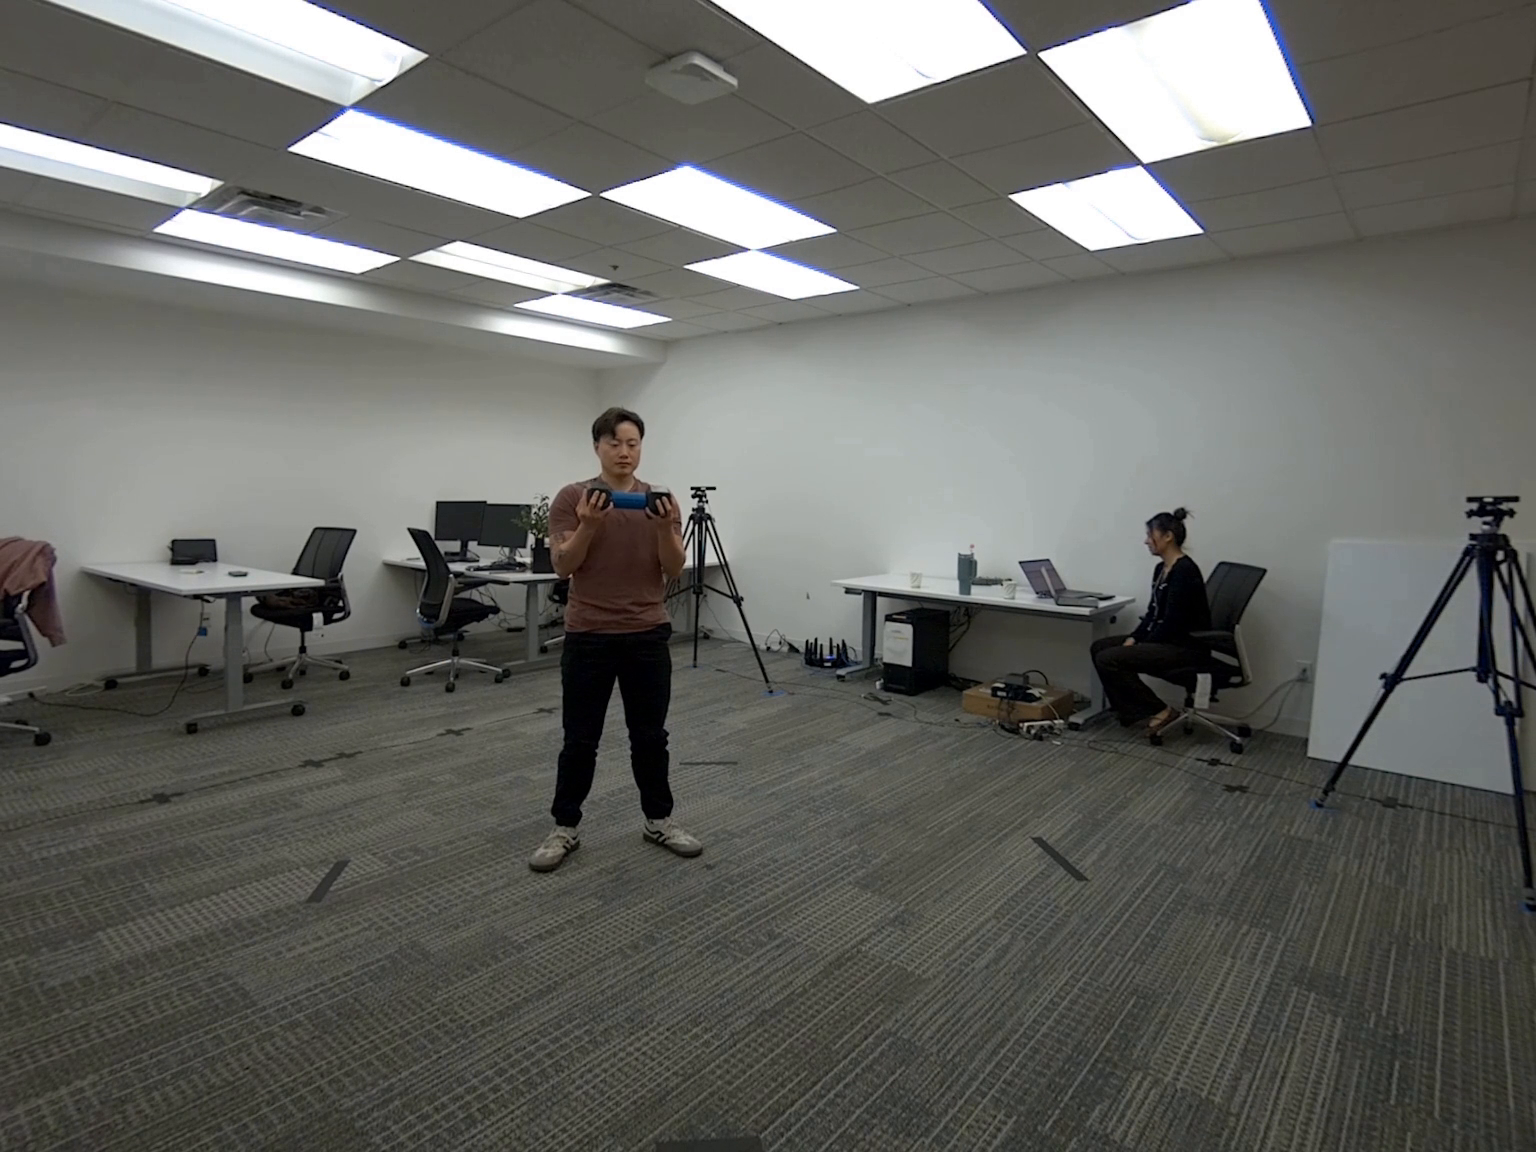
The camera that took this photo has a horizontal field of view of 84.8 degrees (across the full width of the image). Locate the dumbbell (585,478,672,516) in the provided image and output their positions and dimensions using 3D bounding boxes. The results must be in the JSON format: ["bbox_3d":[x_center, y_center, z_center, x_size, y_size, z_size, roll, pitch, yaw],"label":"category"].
[{"bbox_3d":[-0.502,-0.271,3.003,0.289,0.112,0.121,3,-30,-13],"label":"dumbbell"}]
